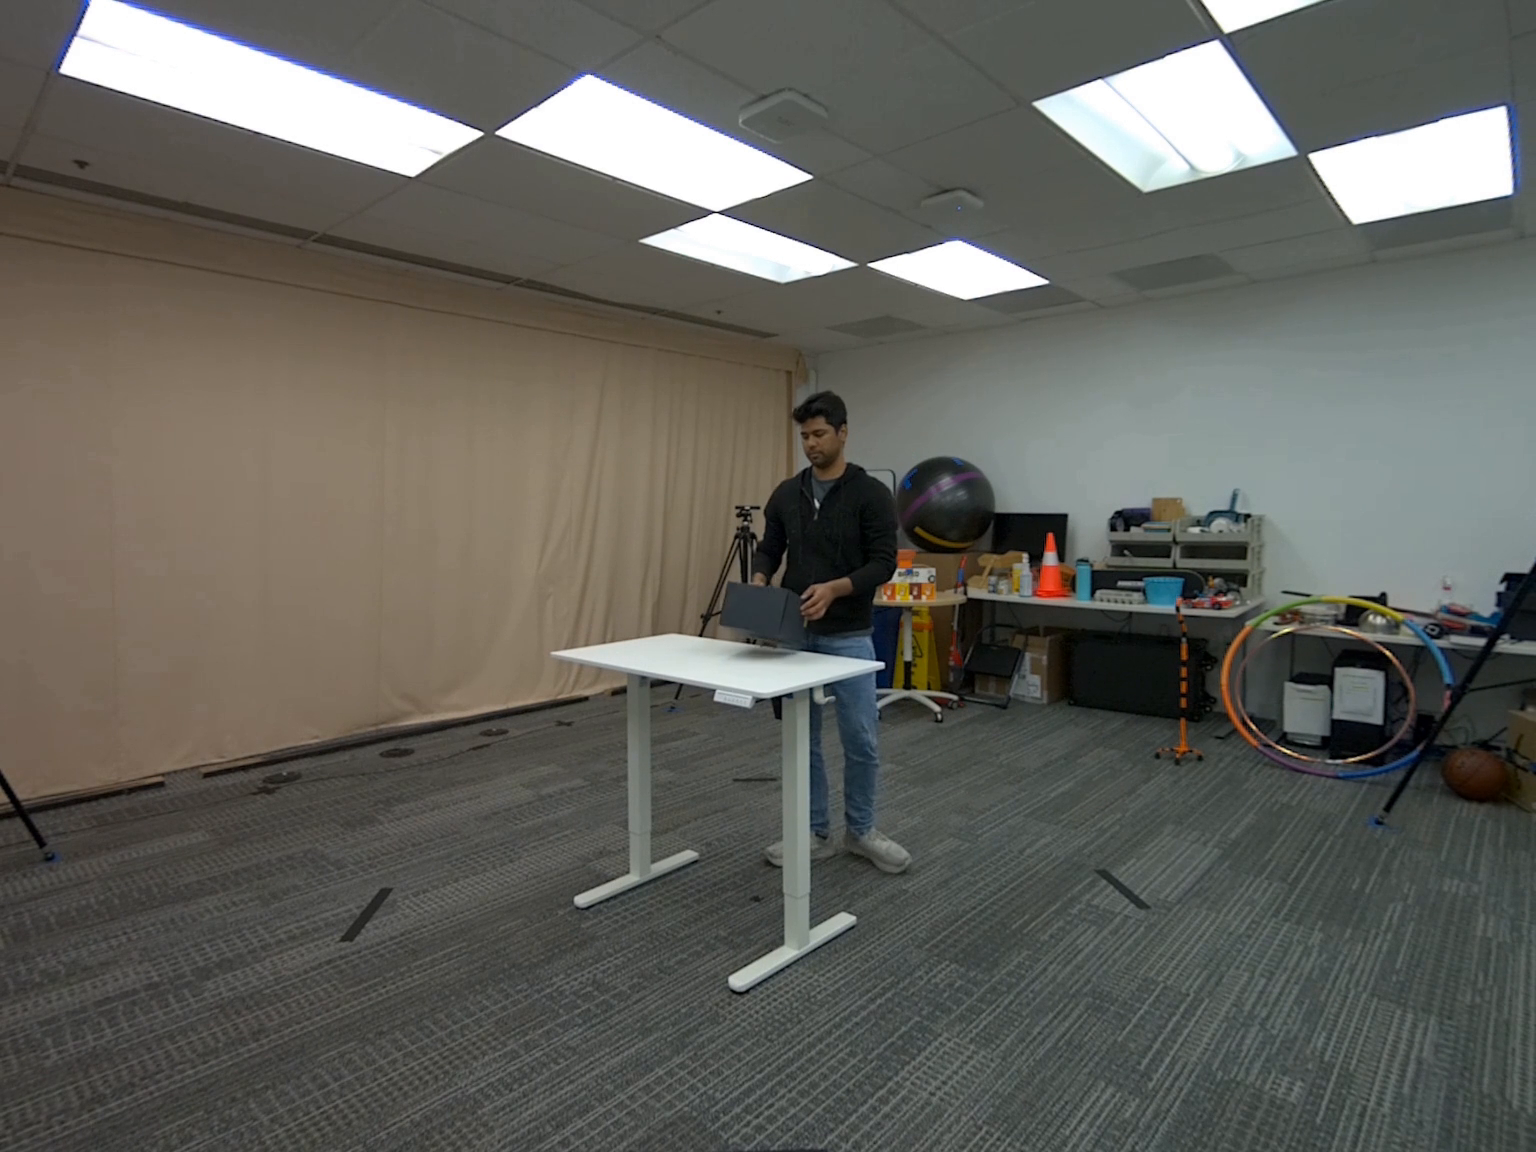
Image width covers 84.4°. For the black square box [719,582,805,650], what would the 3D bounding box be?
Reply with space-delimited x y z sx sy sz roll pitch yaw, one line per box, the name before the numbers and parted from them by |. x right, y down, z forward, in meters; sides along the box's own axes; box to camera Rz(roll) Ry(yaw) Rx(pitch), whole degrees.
black square box | 0.003 0.129 2.878 0.234 0.156 0.210 7 -13 25
